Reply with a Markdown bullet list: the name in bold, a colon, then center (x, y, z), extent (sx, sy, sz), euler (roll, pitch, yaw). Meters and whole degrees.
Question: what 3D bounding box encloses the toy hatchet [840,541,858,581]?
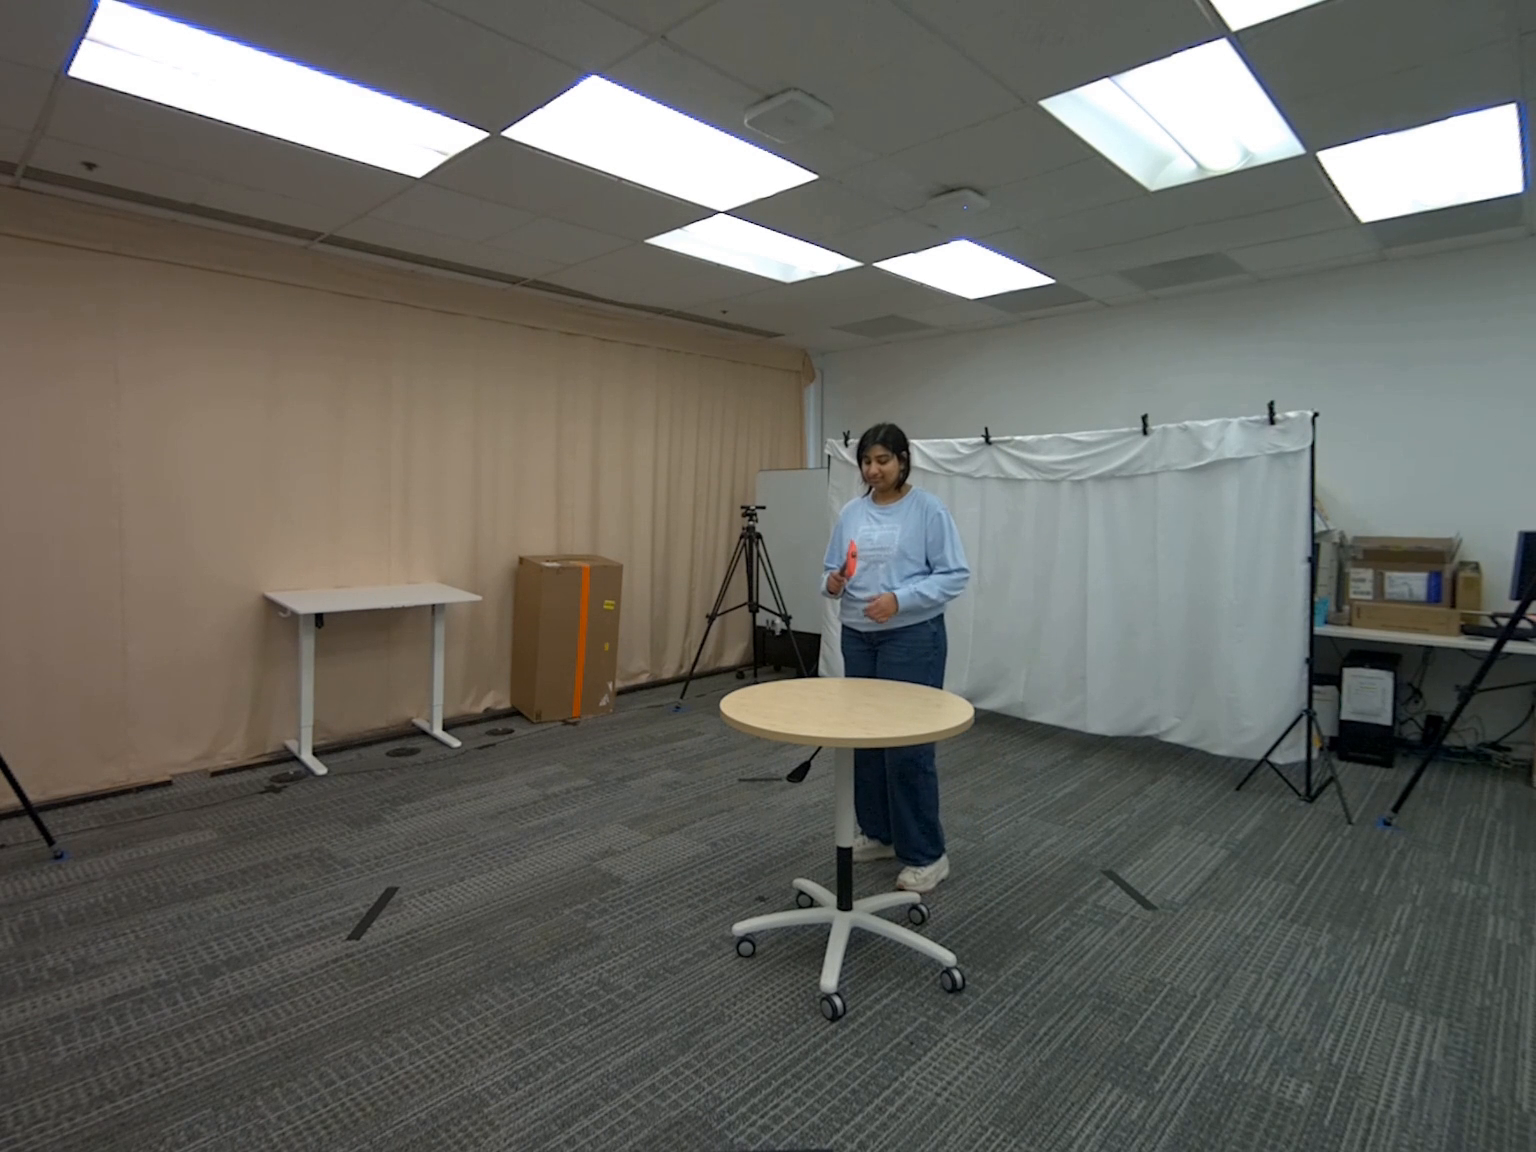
- **toy hatchet**: center (0.287, 0.005, 2.980), extent (0.029, 0.133, 0.265), euler (-1, -40, -1)
